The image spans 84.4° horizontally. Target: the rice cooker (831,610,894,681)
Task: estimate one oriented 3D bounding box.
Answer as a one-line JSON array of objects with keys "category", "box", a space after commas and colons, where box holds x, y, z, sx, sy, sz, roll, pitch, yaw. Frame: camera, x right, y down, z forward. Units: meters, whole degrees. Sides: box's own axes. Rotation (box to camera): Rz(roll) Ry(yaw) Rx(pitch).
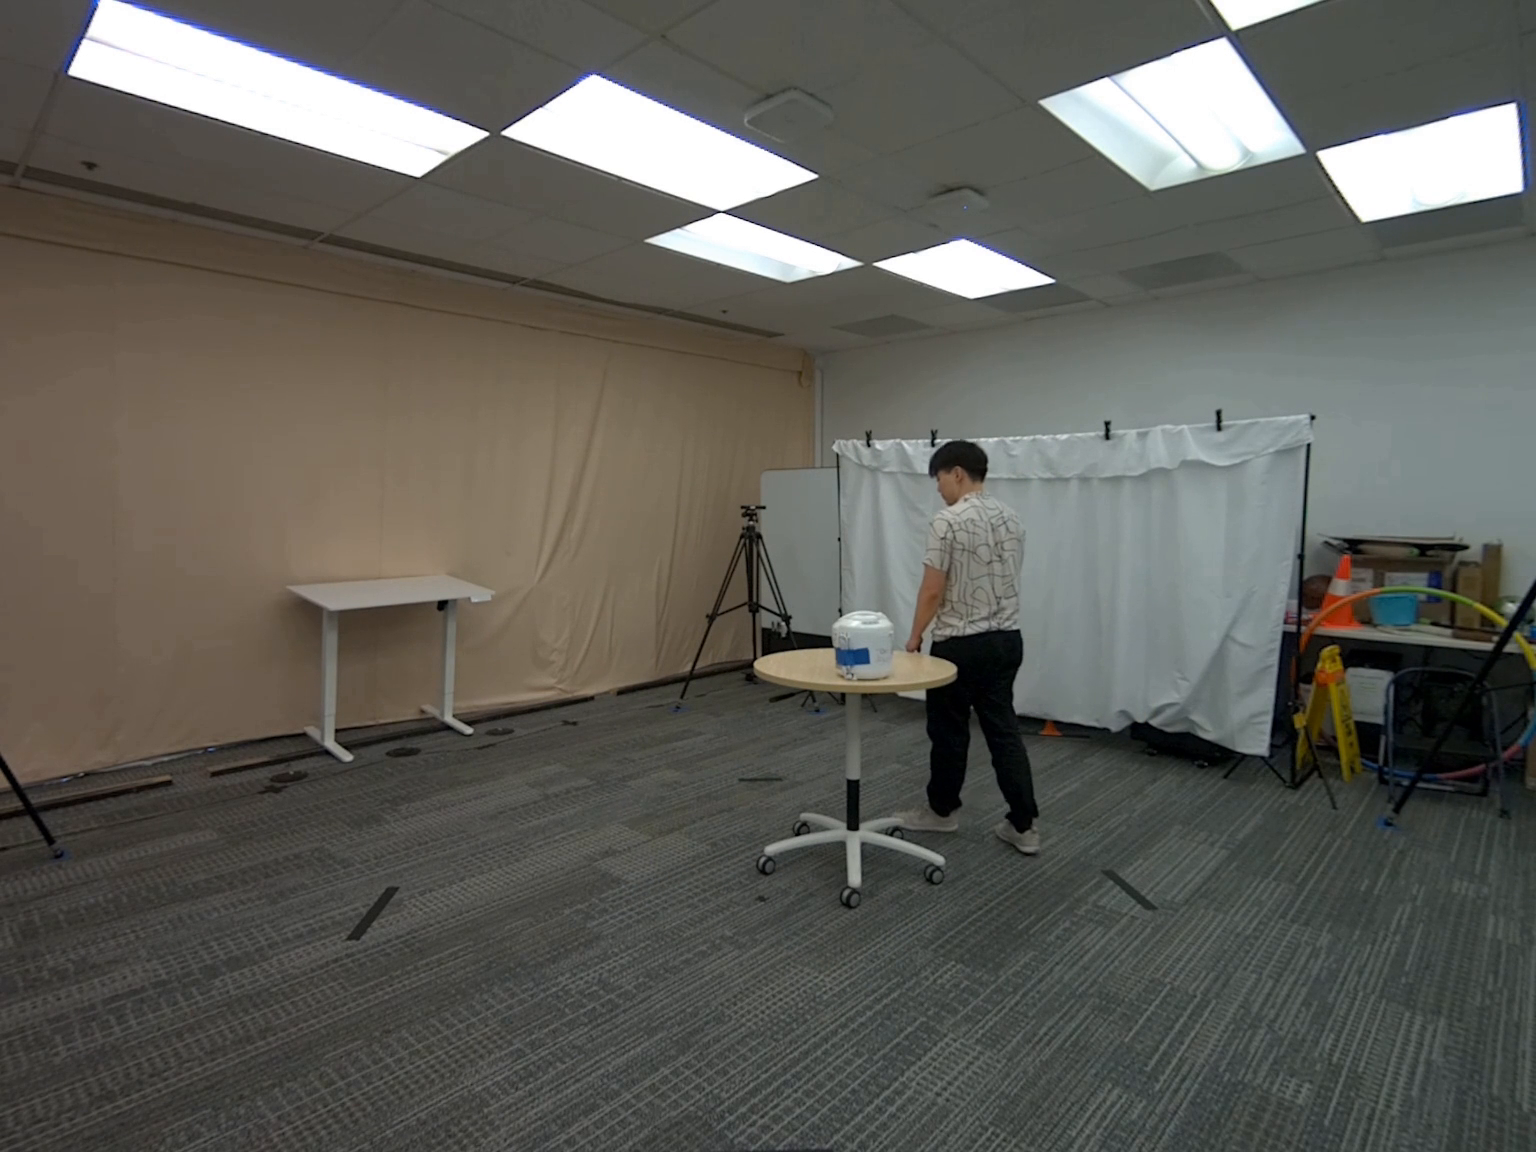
[{"category": "rice cooker", "box": [0.342, 0.239, 3.008, 0.220, 0.232, 0.219, 0, 4, -5]}]
